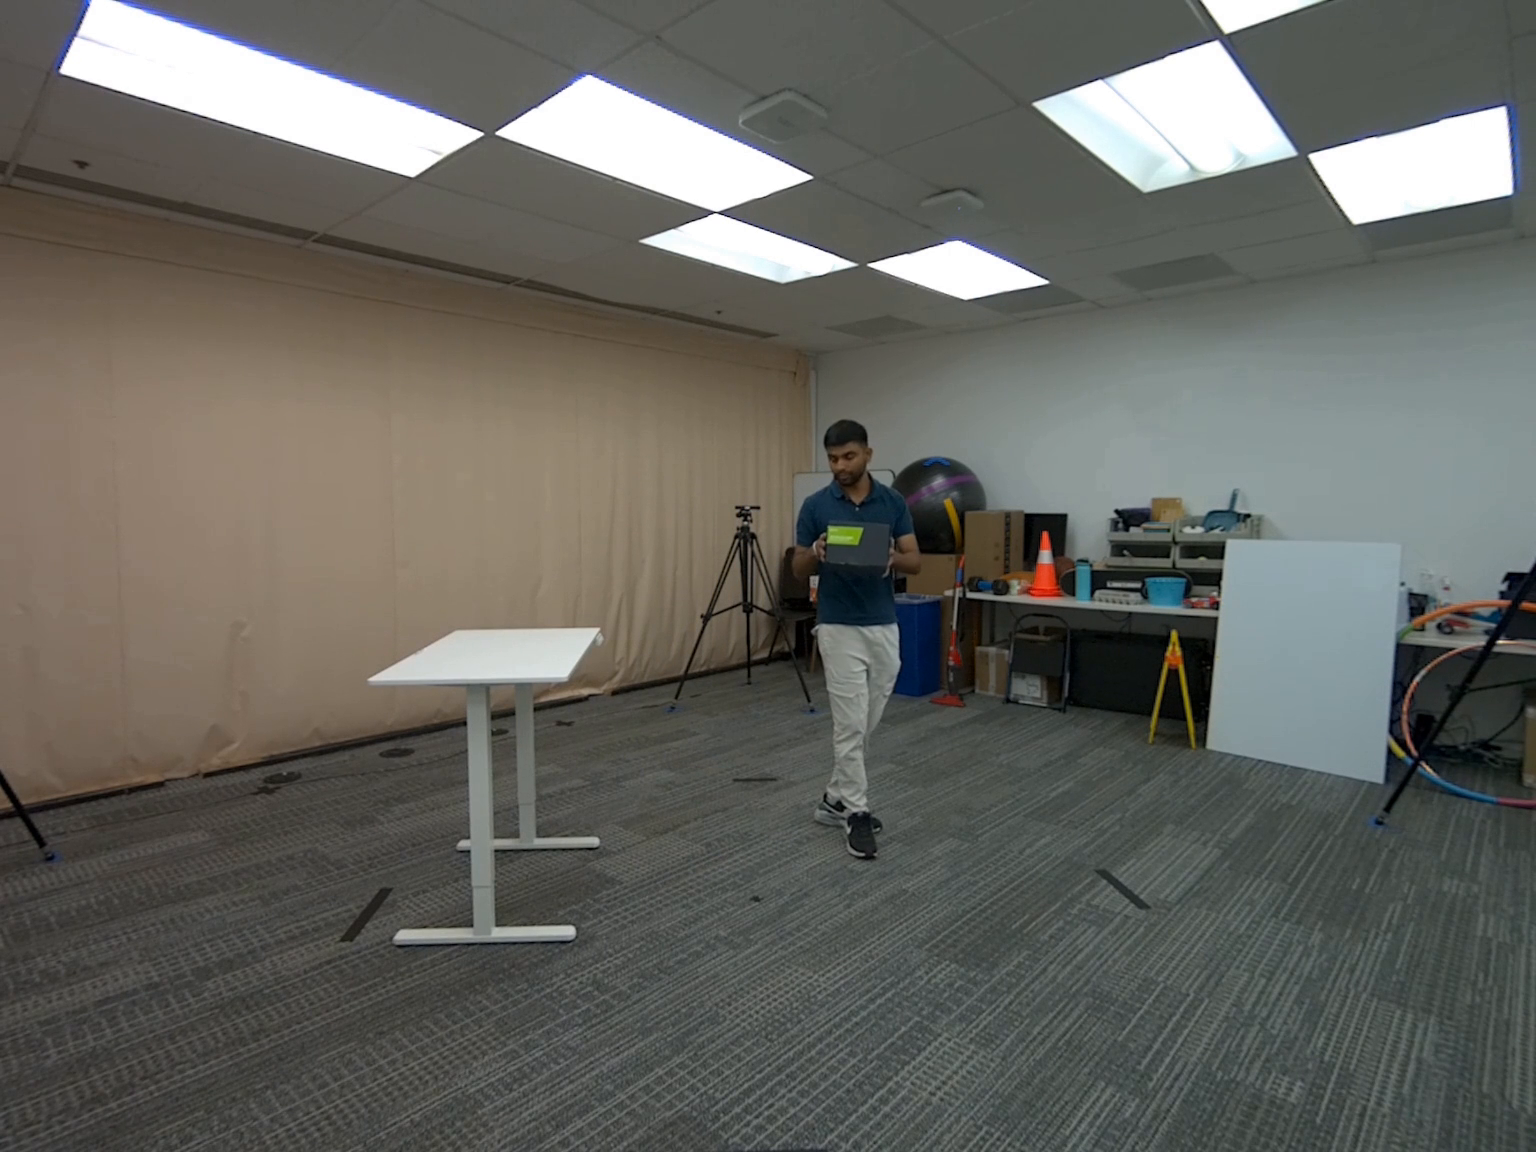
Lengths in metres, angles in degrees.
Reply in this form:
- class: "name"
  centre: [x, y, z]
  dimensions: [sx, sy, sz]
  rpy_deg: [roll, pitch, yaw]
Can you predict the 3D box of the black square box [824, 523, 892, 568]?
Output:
- class: "black square box"
  centre: [0.337, -0.110, 3.129]
  dimensions: [0.230, 0.156, 0.214]
  rpy_deg: [4, -4, 7]
